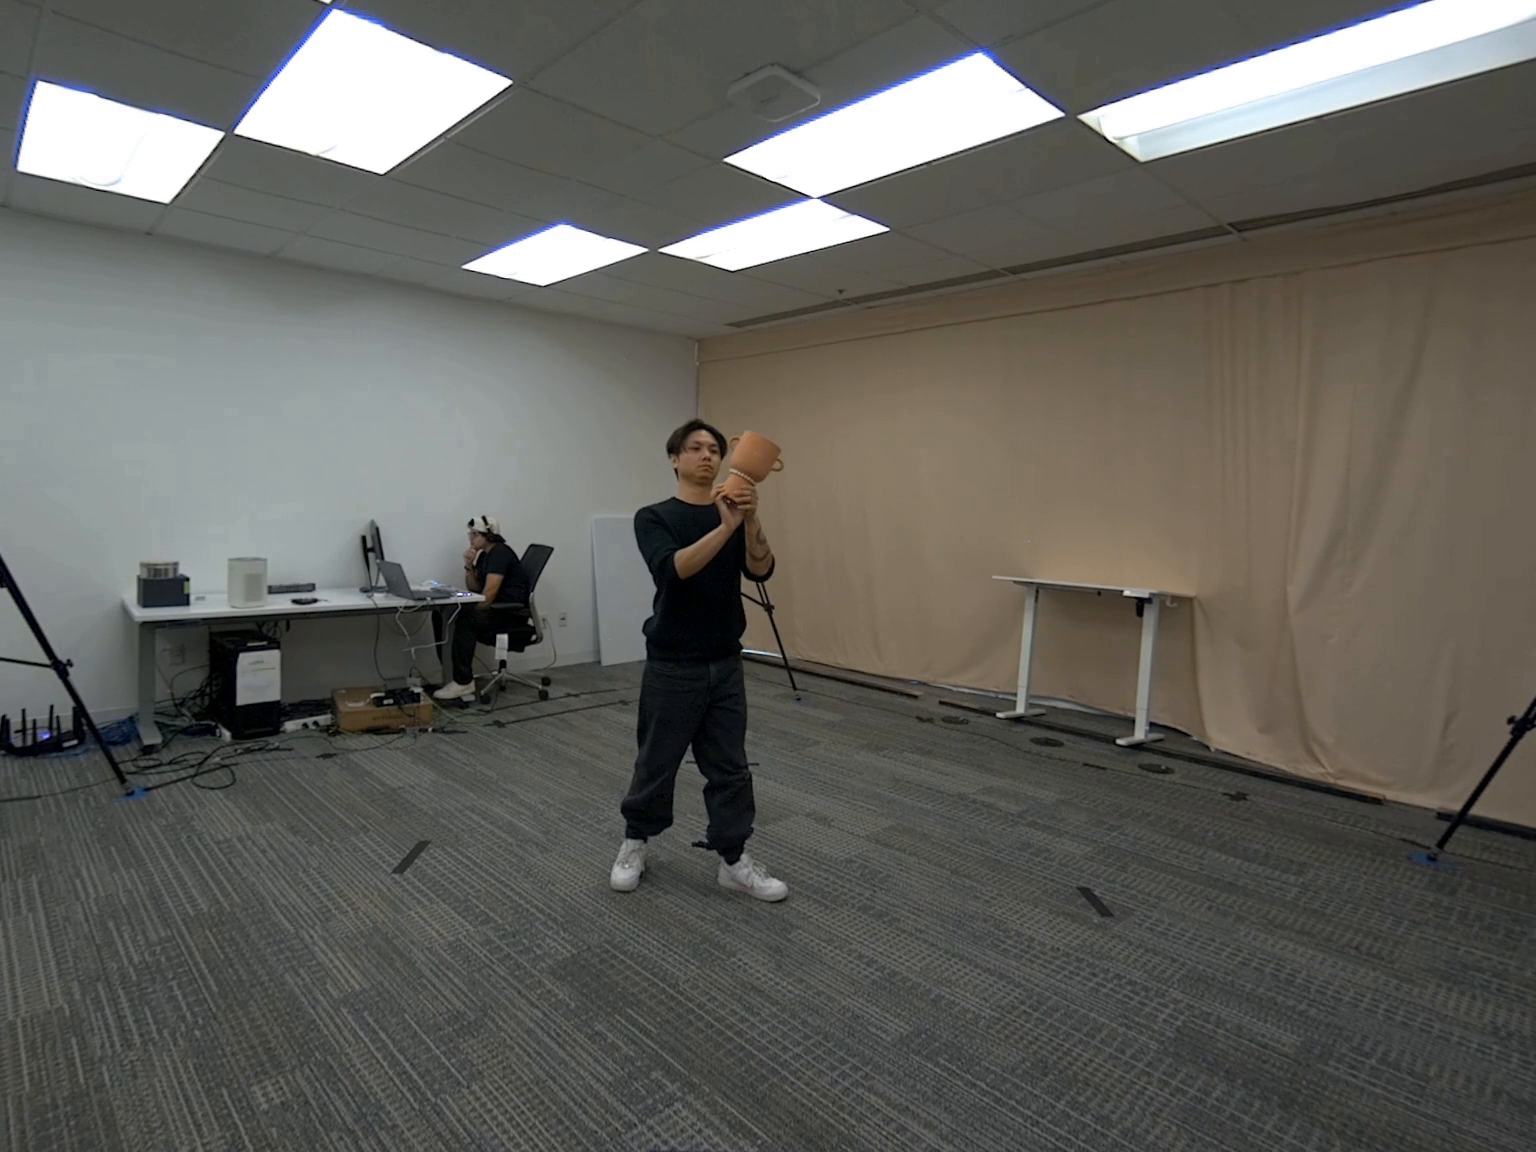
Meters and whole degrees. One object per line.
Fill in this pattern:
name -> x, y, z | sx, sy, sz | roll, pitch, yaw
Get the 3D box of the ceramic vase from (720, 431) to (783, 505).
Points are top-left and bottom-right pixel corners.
ceramic vase -> -0.069, -0.340, 2.697 | 0.130, 0.220, 0.164 | 32, -4, -42
